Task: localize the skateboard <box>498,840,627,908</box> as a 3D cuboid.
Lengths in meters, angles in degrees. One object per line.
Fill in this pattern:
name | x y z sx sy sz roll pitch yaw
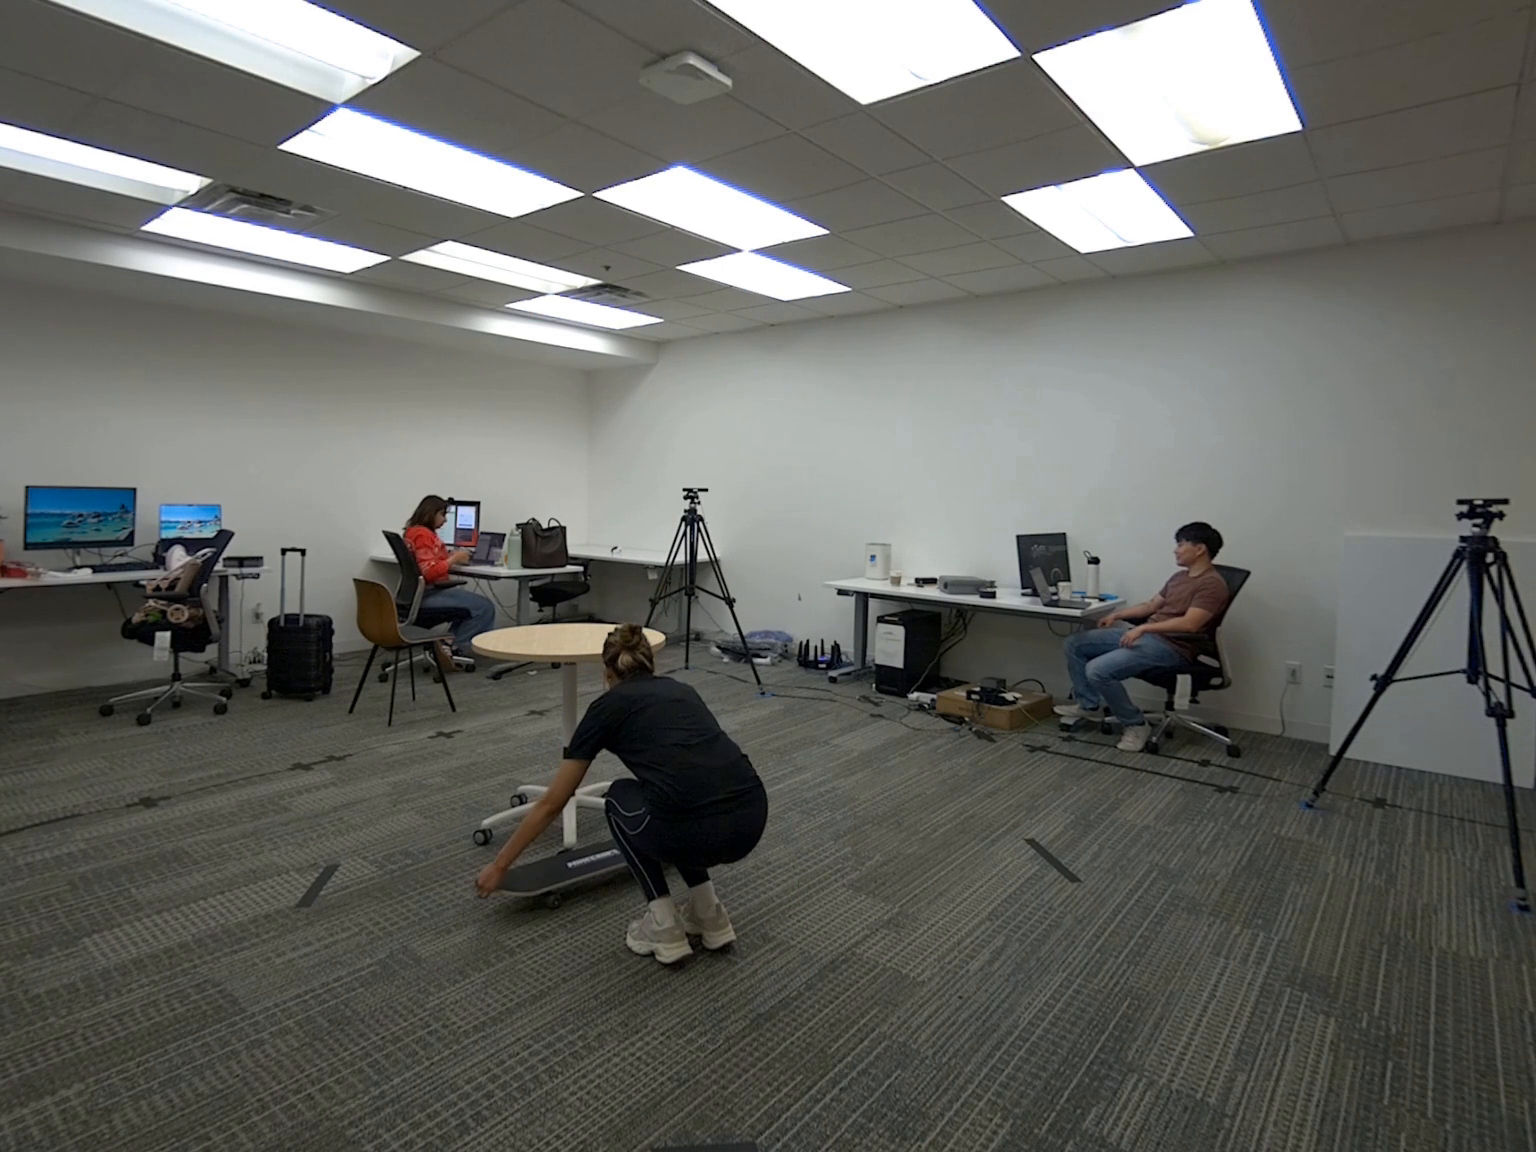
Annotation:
skateboard | -0.615 1.021 2.984 0.762 0.110 0.200 -4 6 -40
